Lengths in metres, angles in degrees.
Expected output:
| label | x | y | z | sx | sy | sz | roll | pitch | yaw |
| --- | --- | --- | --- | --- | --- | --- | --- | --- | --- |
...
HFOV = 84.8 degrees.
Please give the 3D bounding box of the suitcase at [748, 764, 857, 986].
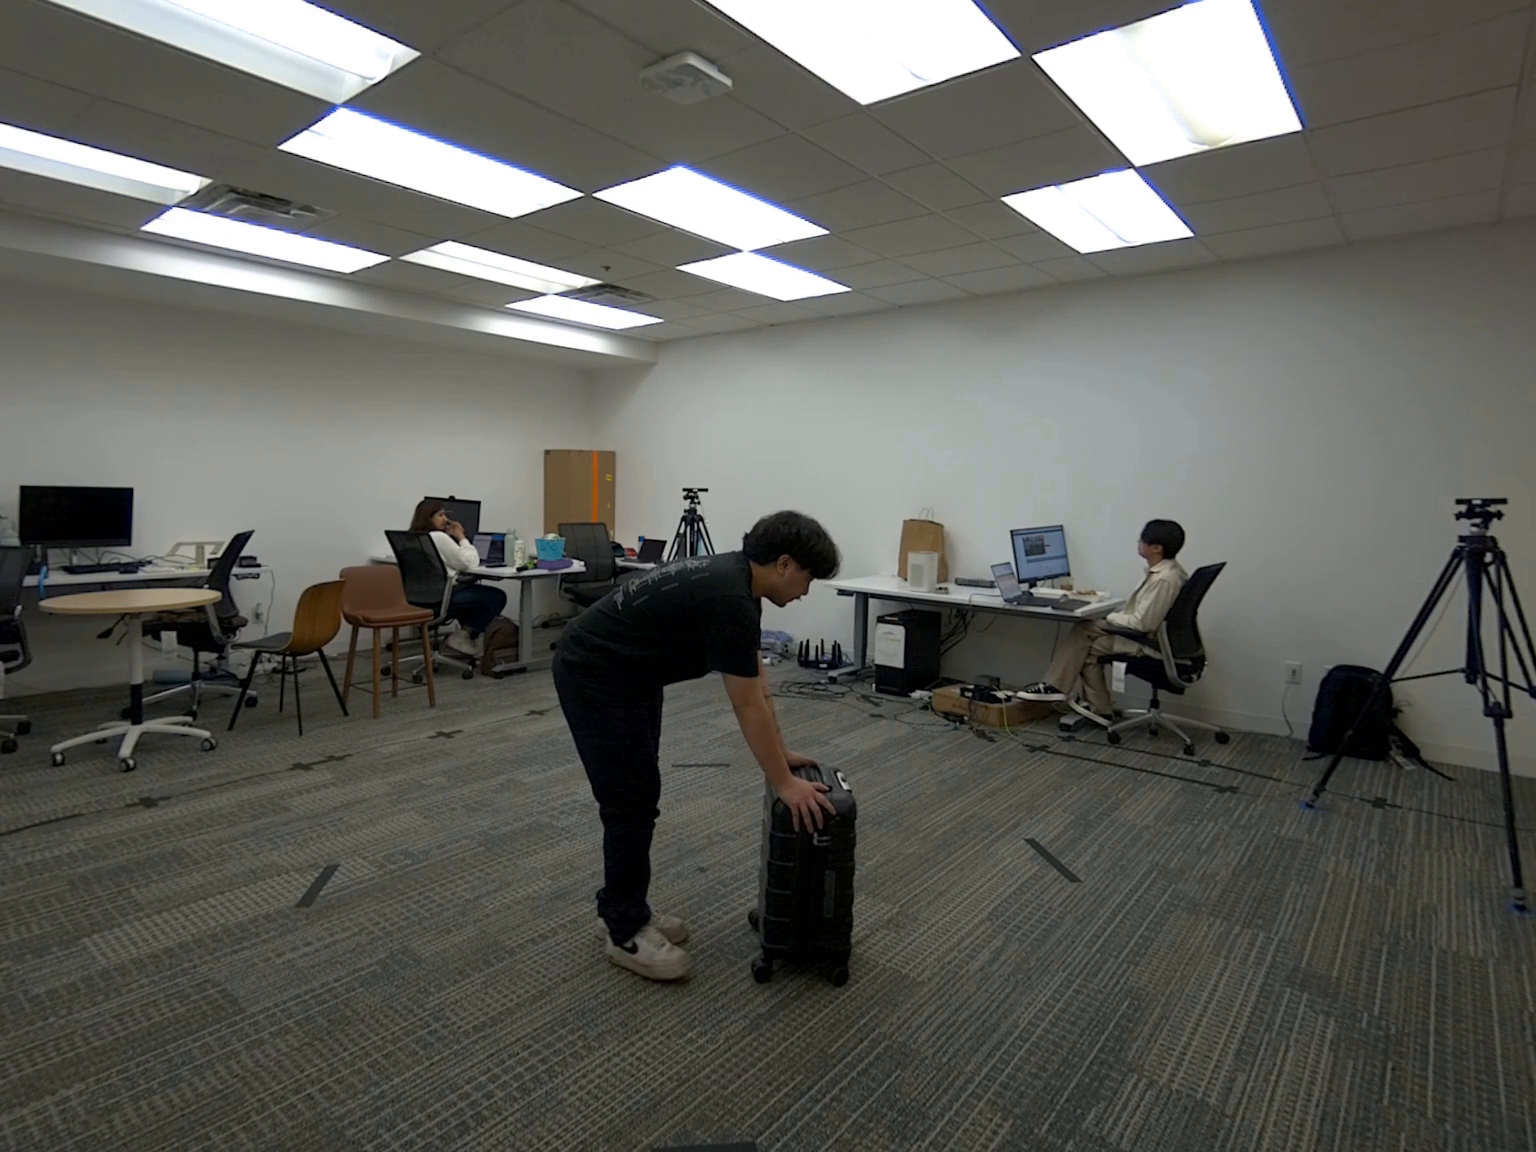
| label | x | y | z | sx | sy | sz | roll | pitch | yaw |
| --- | --- | --- | --- | --- | --- | --- | --- | --- | --- |
| suitcase | 0.103 | 0.859 | 2.541 | 0.248 | 0.548 | 0.377 | 3 | 4 | -2 |
